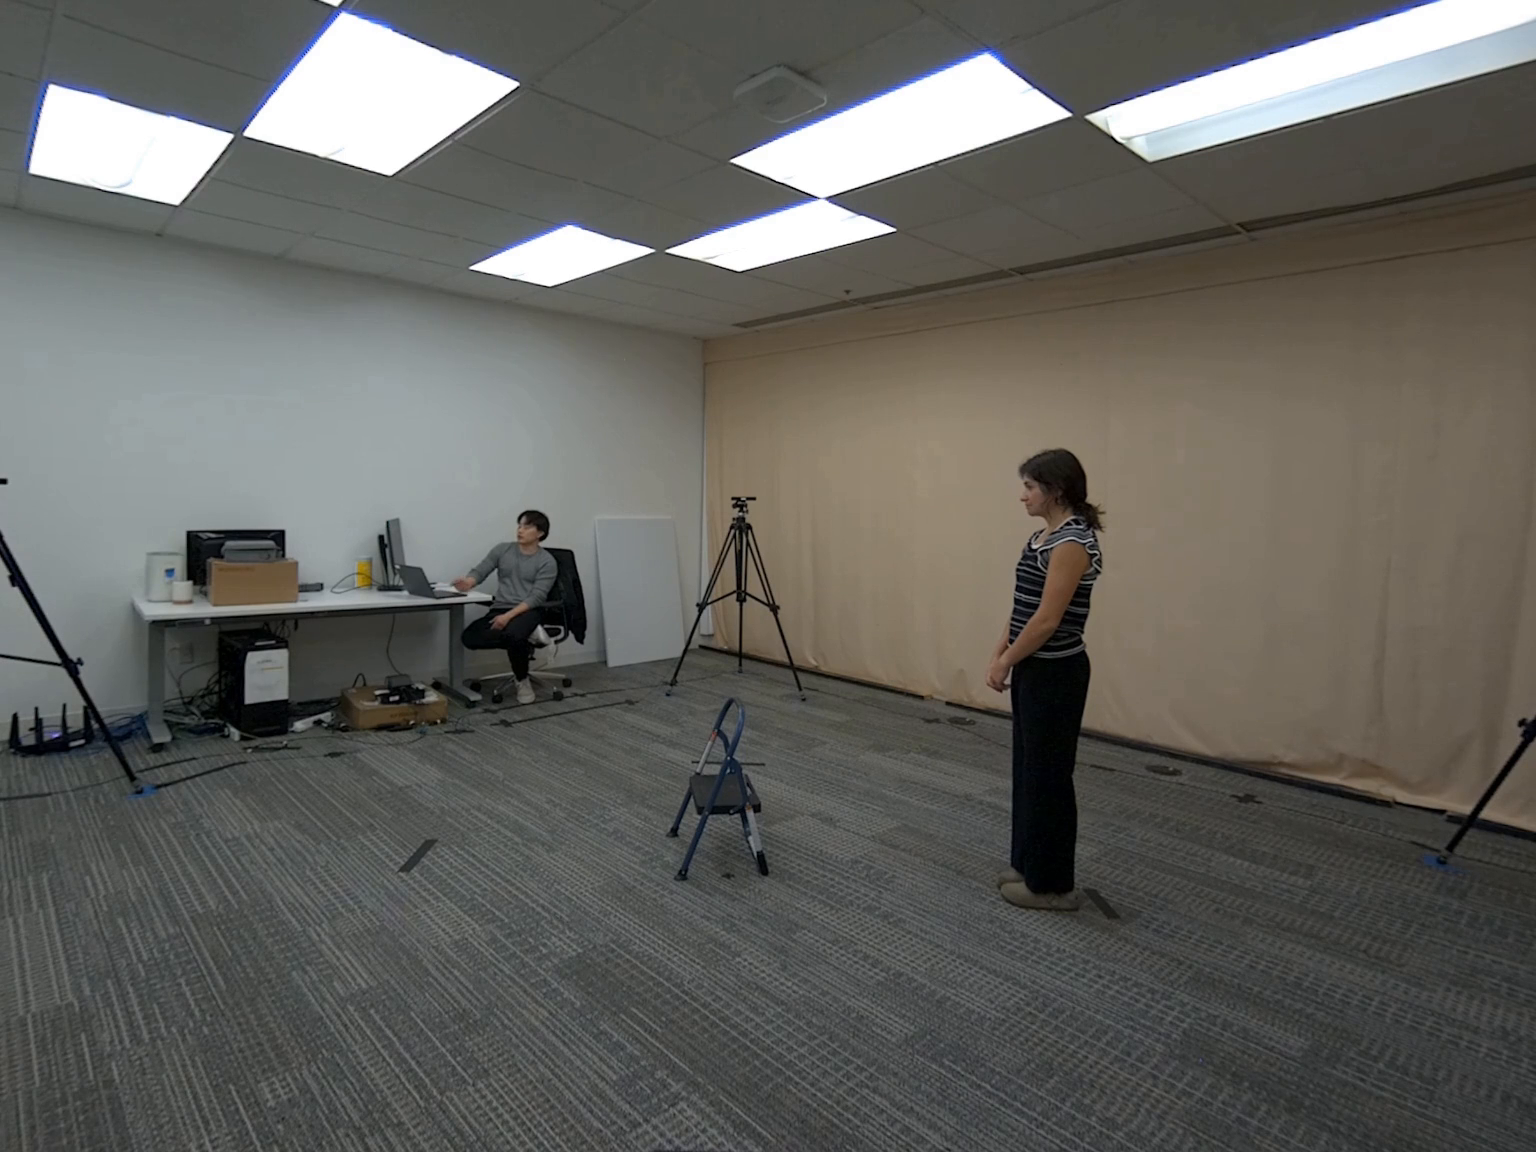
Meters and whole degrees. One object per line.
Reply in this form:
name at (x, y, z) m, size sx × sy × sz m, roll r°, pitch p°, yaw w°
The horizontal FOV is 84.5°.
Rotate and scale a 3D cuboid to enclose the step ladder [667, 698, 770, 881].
step ladder at (-0.198, 0.786, 3.274) m, size 0.346 × 0.604 × 0.435 m, roll 1°, pitch 4°, yaw -10°
